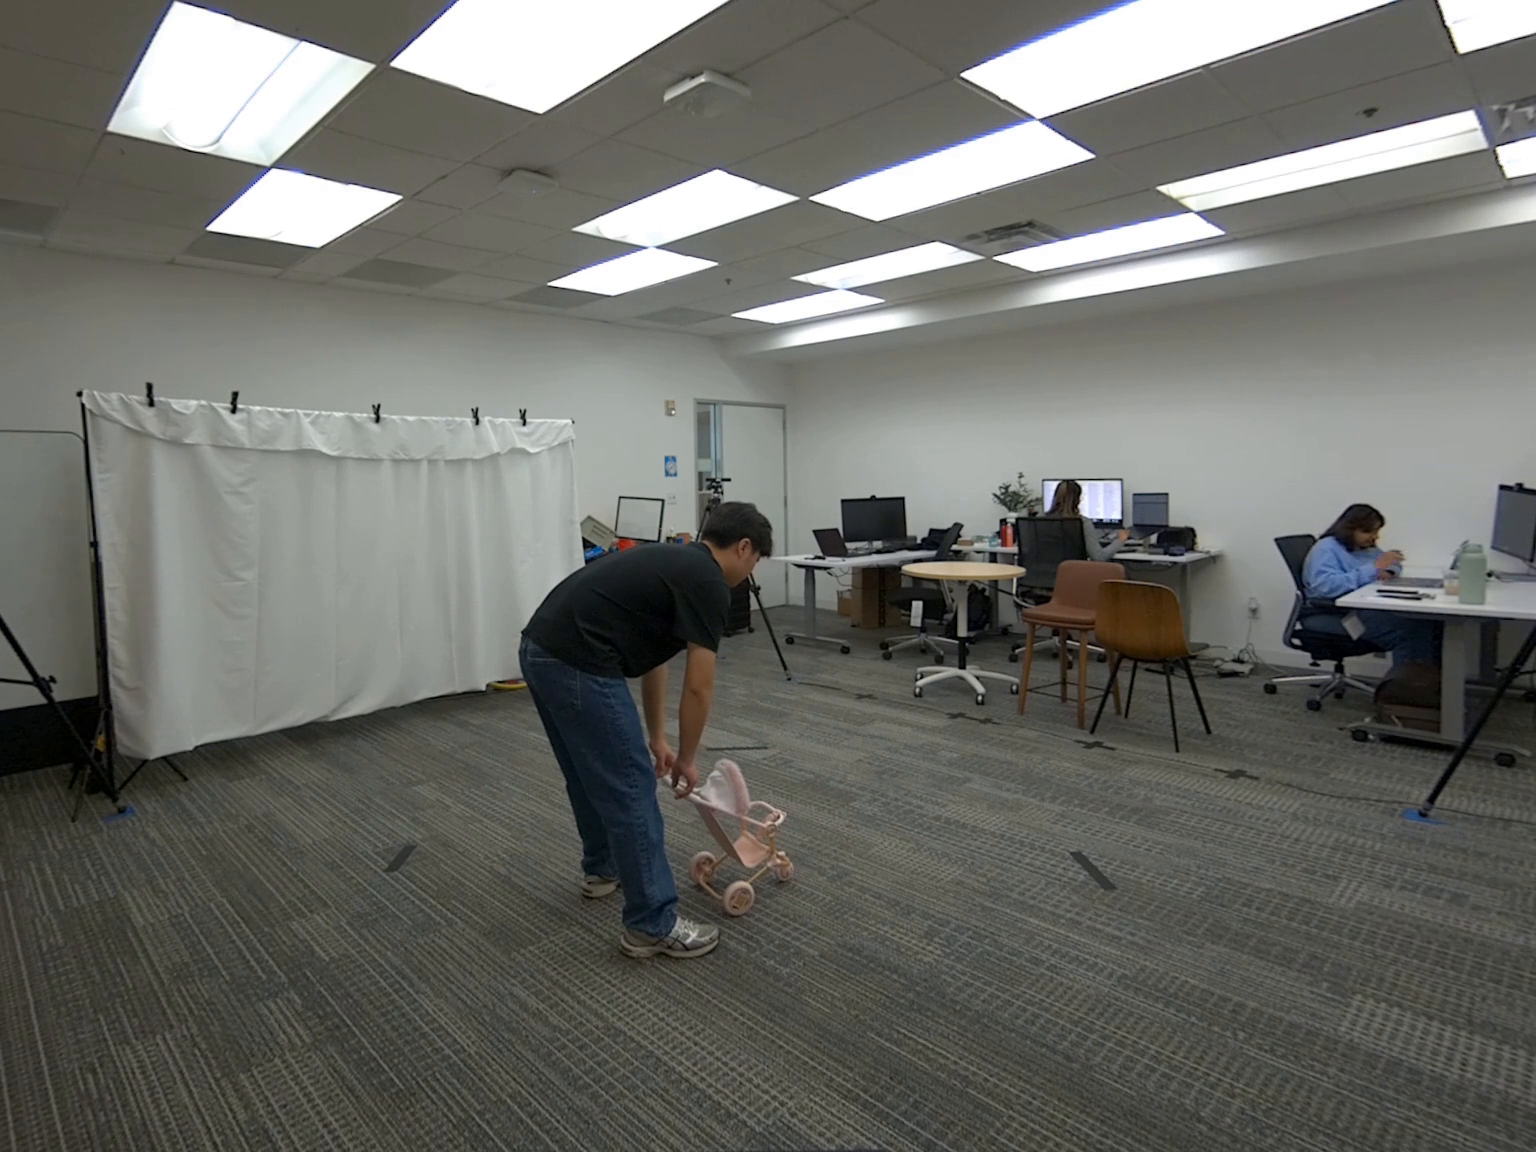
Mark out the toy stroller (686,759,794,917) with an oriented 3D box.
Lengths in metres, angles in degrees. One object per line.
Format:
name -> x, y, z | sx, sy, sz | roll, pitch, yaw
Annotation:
toy stroller -> -0.104, 0.849, 2.862 | 0.337, 0.528, 0.288 | -21, 12, -22
